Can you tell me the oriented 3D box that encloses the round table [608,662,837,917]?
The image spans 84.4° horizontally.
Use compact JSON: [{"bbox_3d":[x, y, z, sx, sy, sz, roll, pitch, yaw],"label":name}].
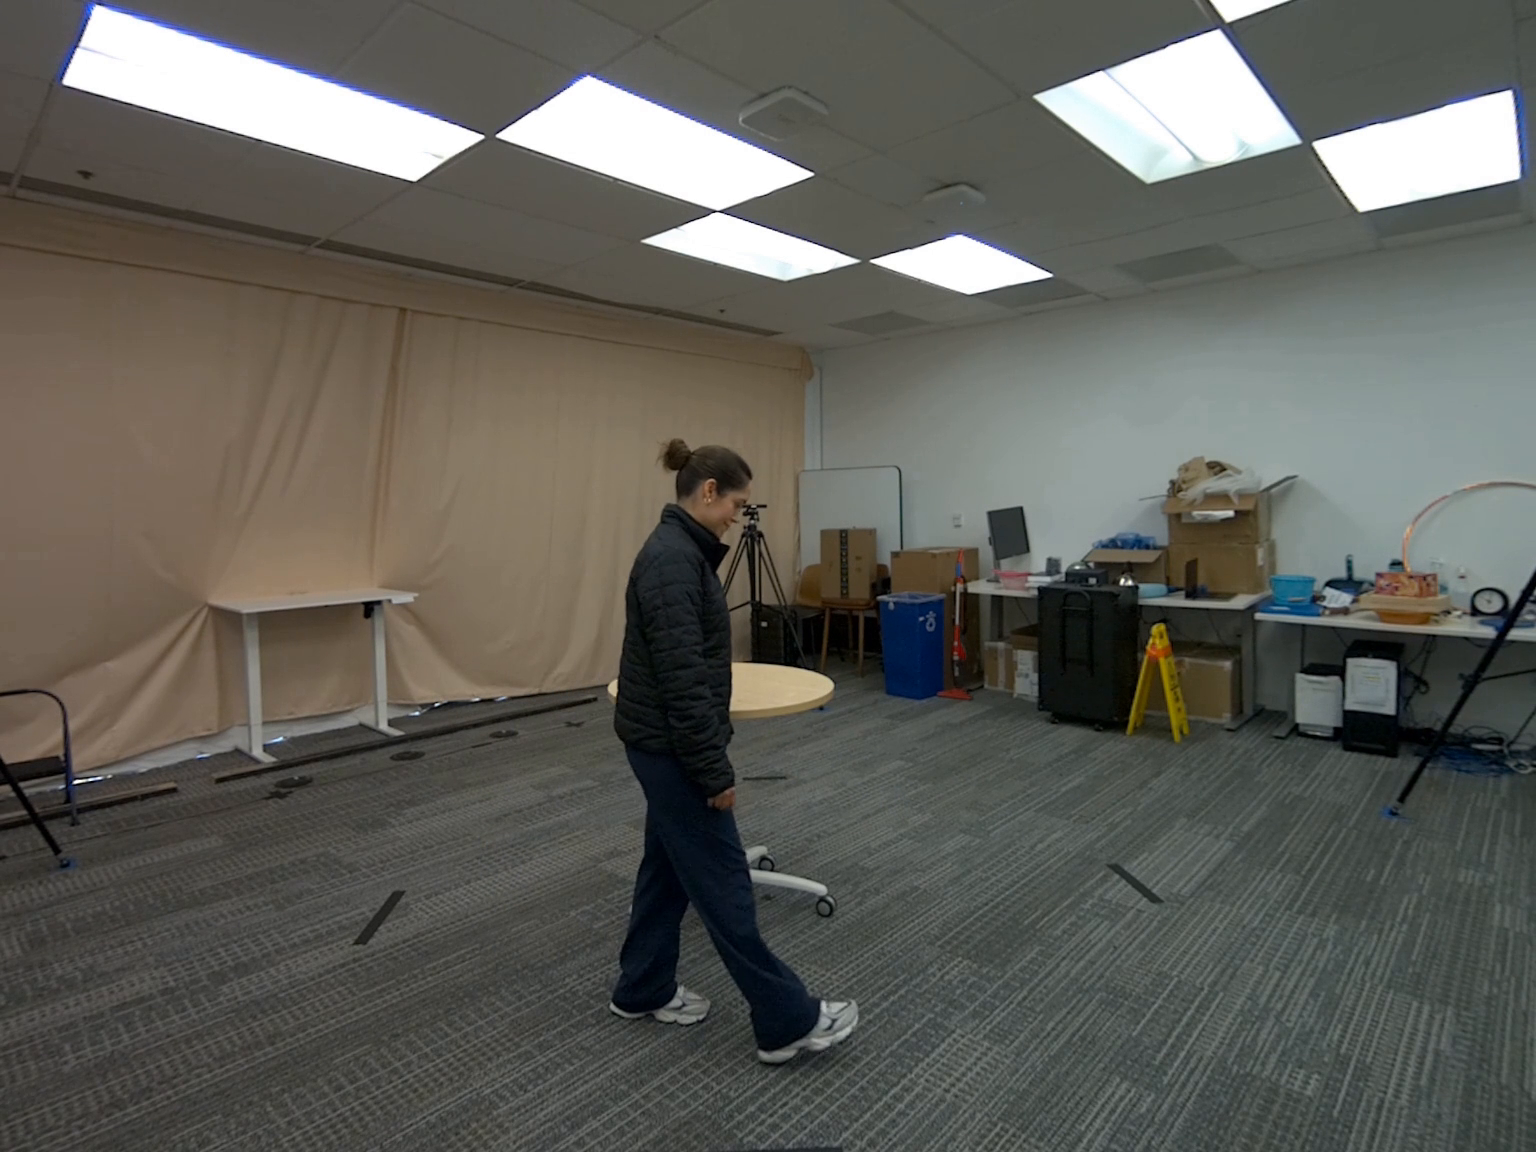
[{"bbox_3d":[-0.137,0.756,2.905,0.784,0.784,0.788,-1,4,-2],"label":"round table"}]
